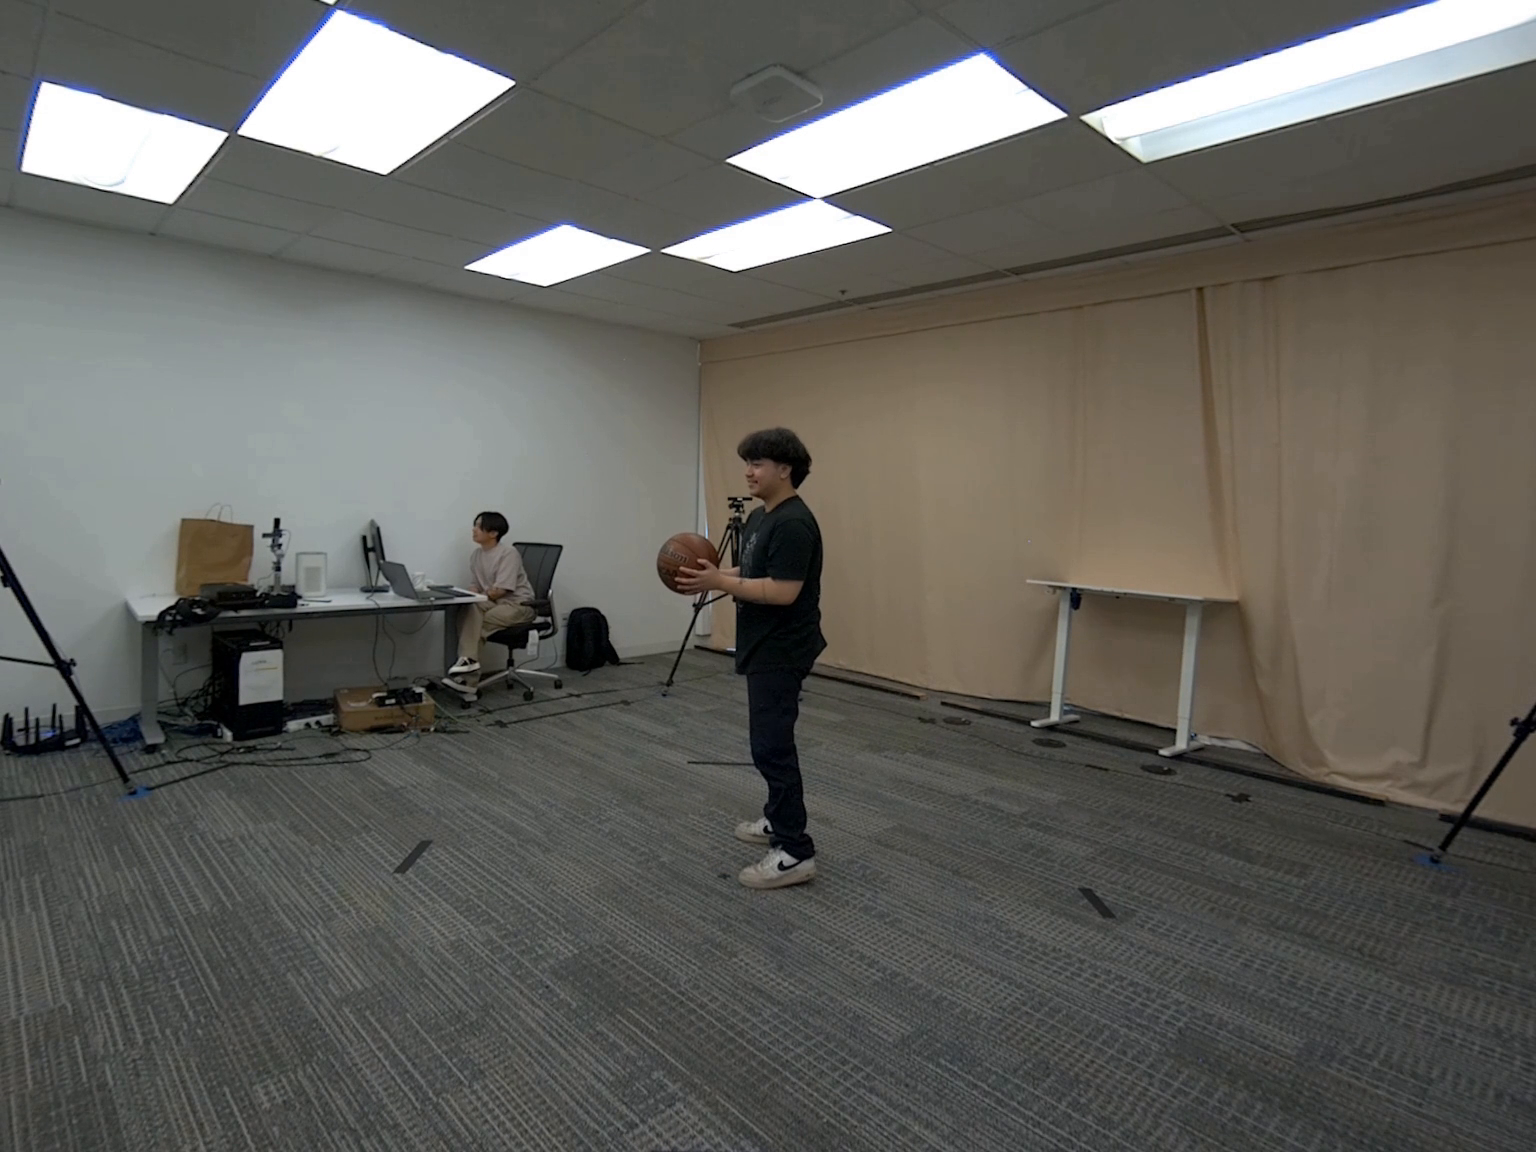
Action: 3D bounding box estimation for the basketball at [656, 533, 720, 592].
[{"bbox_3d":[-0.308,-0.045,3.203,0.236,0.235,0.237,1,4,-1],"label":"basketball"}]
